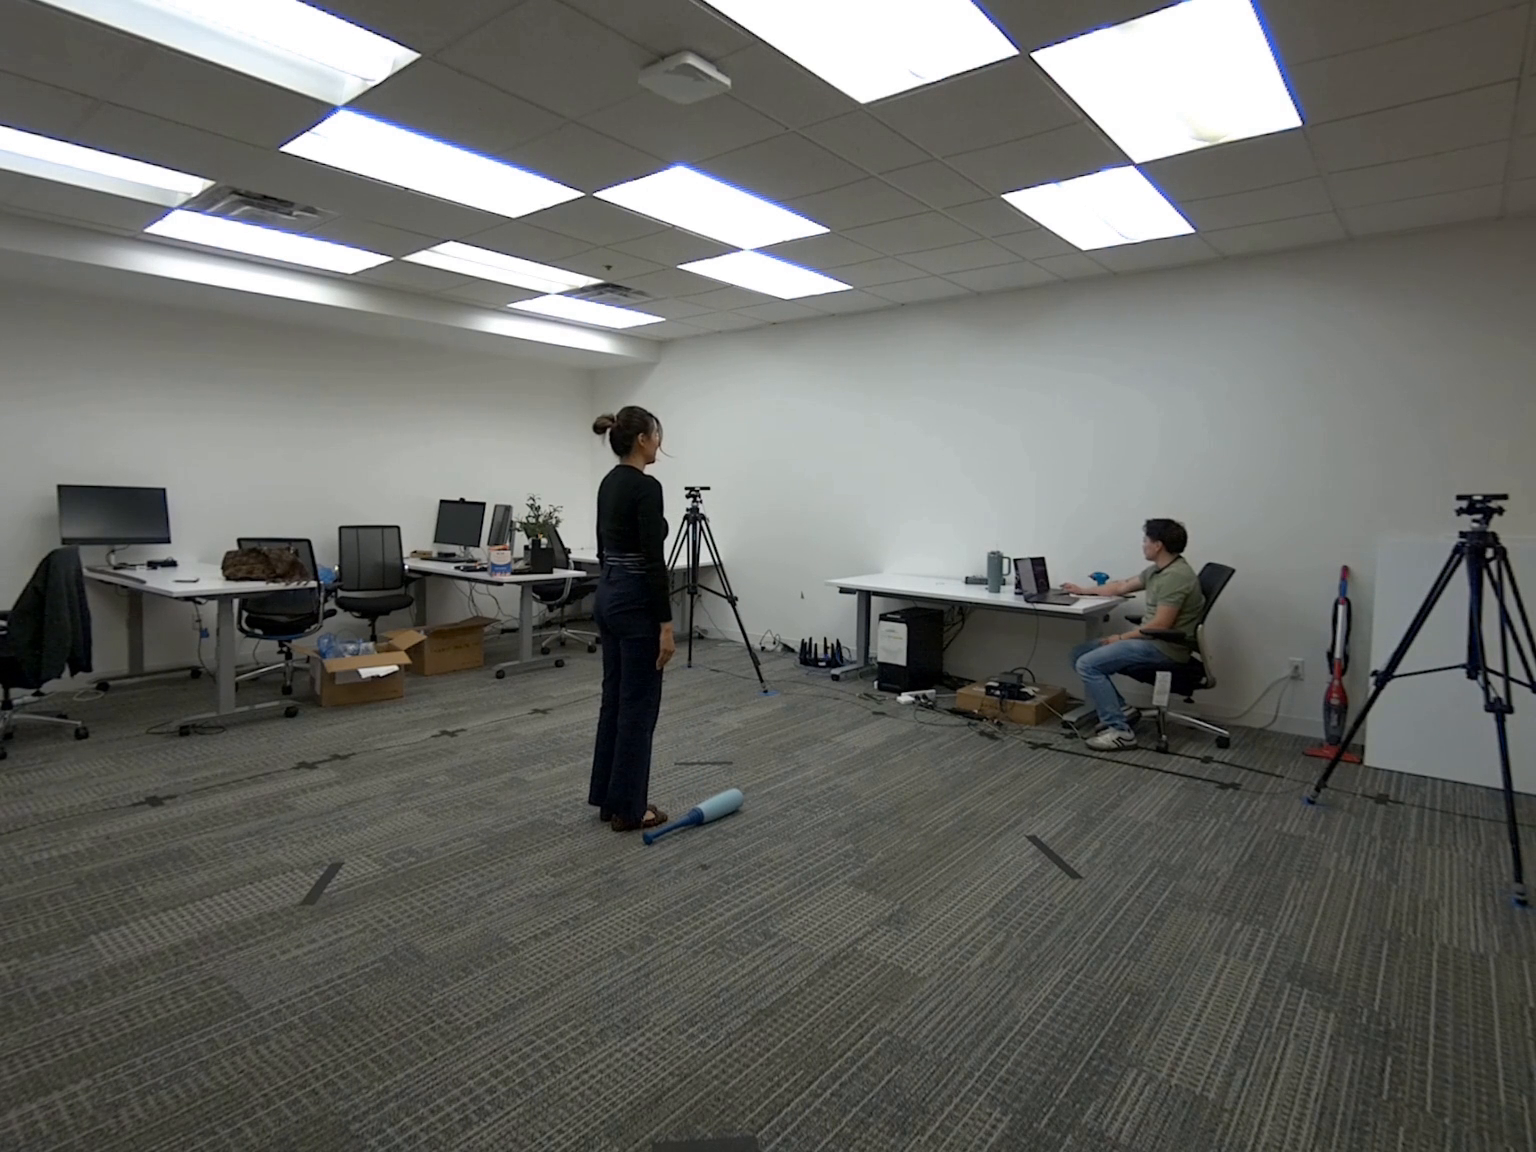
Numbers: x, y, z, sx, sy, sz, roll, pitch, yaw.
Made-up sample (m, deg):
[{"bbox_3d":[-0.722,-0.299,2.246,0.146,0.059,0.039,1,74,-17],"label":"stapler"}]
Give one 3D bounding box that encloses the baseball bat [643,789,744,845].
[{"bbox_3d":[-0.312,0.995,3.495,0.092,0.088,0.528,4,10,41],"label":"baseball bat"}]
